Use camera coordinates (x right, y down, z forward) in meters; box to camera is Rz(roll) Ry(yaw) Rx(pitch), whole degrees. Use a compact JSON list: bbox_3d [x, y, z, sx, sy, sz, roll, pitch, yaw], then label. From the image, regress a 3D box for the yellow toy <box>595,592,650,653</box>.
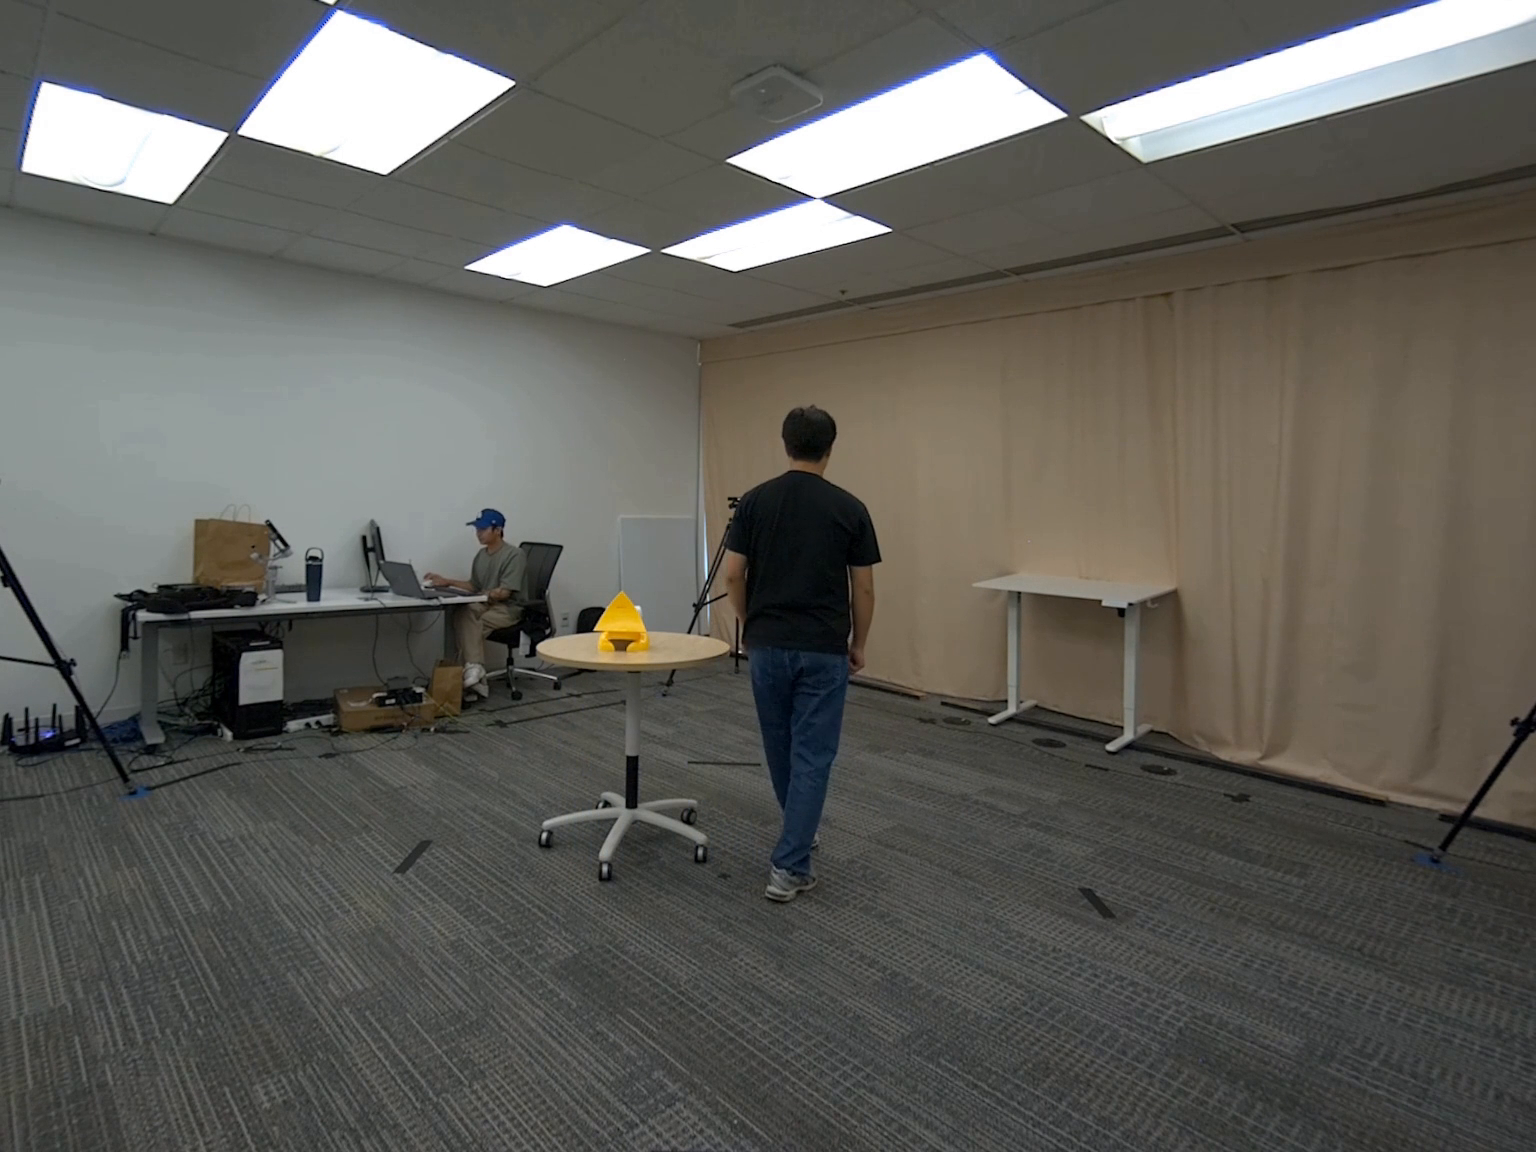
[{"bbox_3d":[-0.567,0.166,3.303,0.205,0.230,0.193,2,5,2],"label":"yellow toy"}]
